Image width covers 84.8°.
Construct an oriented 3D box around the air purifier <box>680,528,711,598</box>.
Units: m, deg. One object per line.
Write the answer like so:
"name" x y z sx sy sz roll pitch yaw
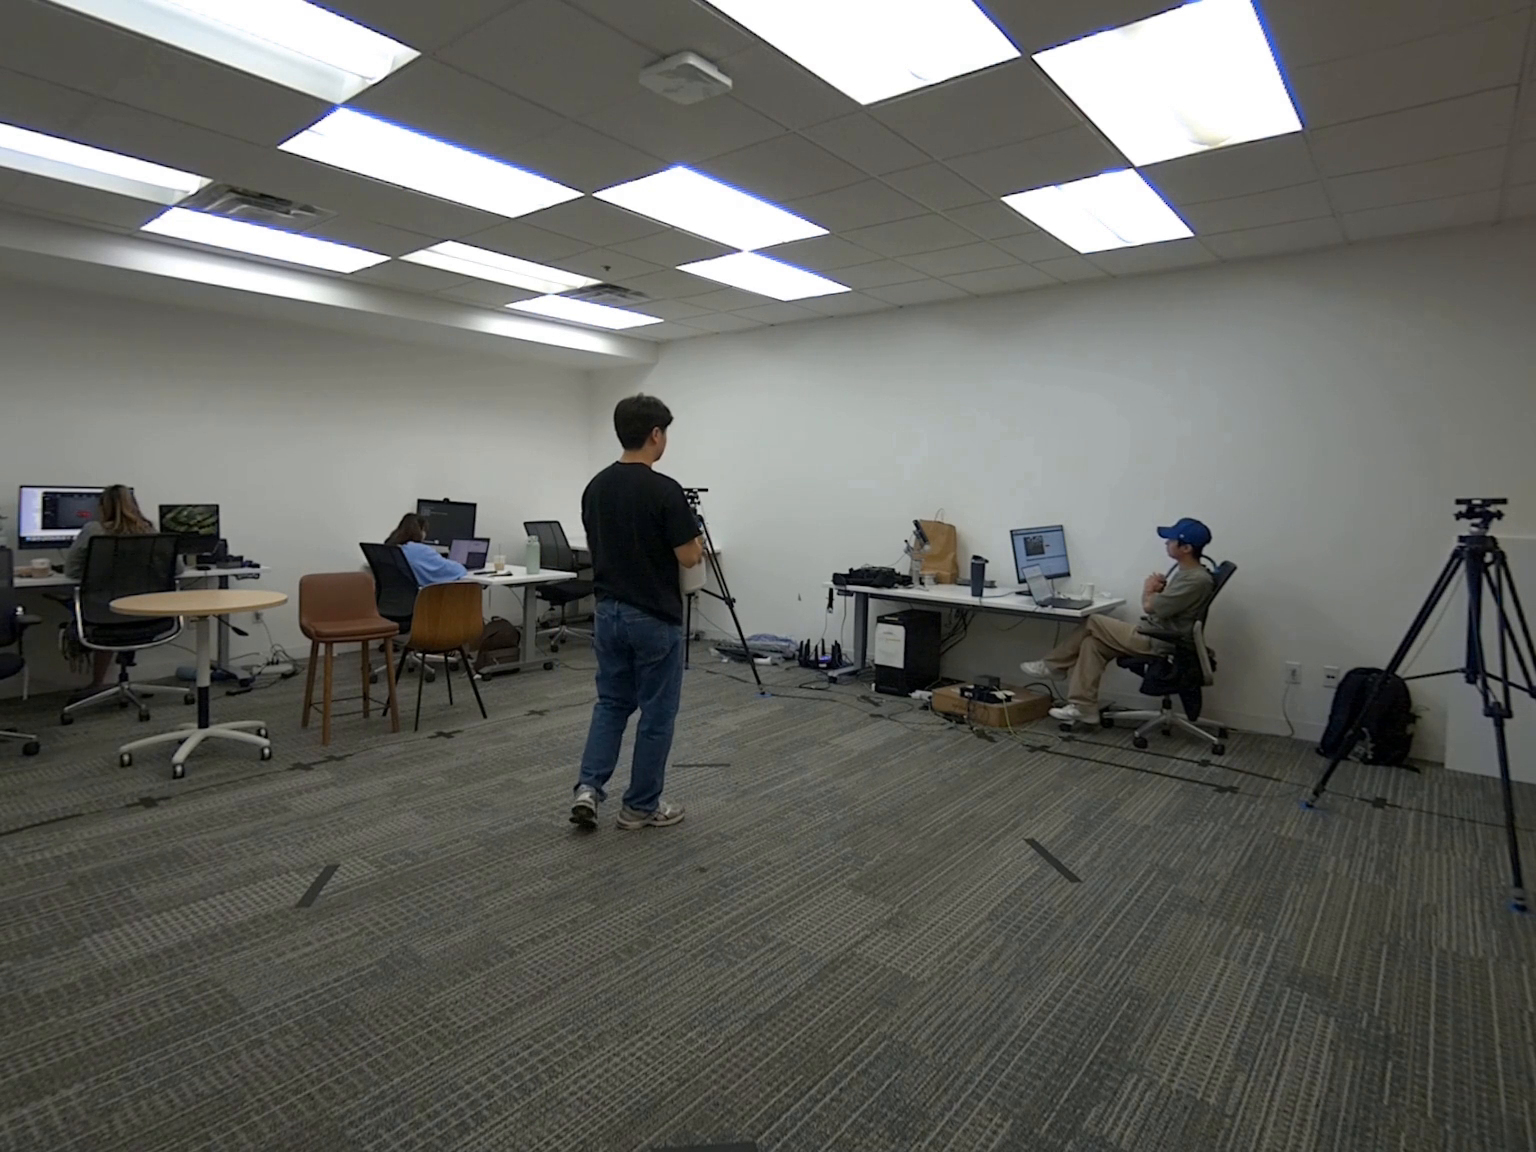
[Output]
"air purifier" -0.387 -0.065 3.667 0.177 0.262 0.168 3 15 39
